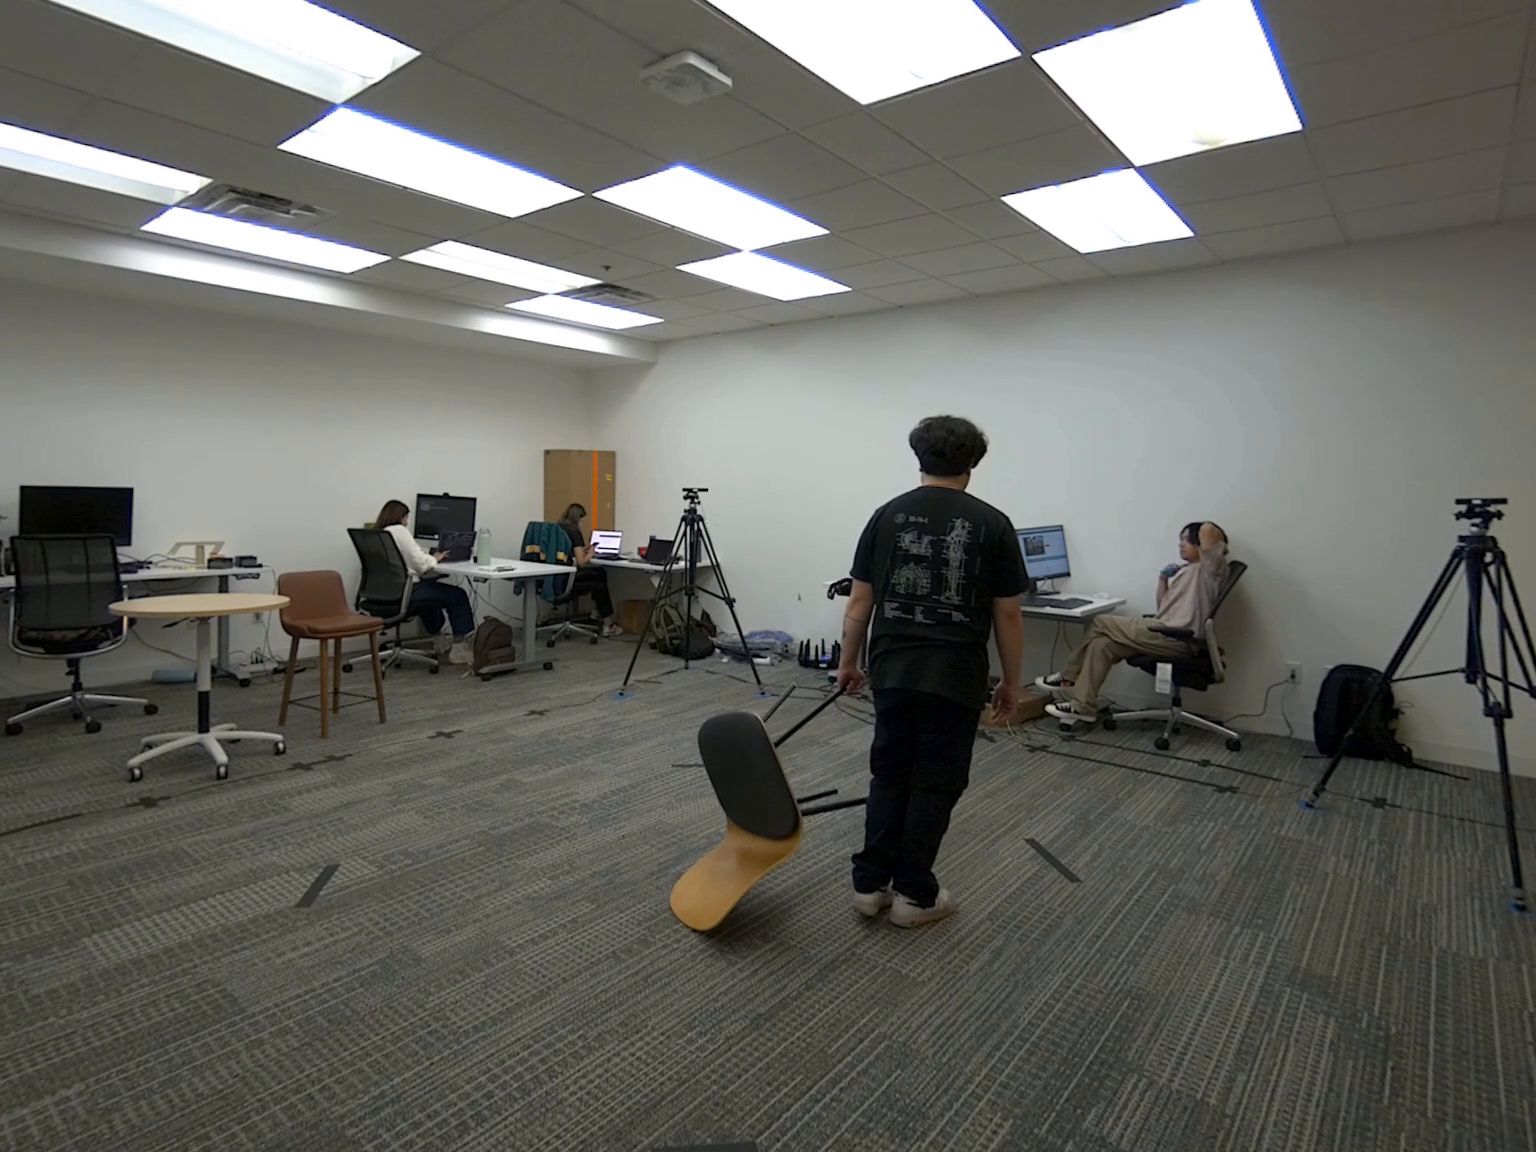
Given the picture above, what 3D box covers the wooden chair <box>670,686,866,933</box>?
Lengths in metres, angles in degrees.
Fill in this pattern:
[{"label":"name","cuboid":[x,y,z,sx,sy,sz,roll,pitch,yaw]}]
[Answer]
[{"label":"wooden chair","cuboid":[-0.036,0.711,2.899,0.864,0.523,0.485,-27,1,-34]}]
